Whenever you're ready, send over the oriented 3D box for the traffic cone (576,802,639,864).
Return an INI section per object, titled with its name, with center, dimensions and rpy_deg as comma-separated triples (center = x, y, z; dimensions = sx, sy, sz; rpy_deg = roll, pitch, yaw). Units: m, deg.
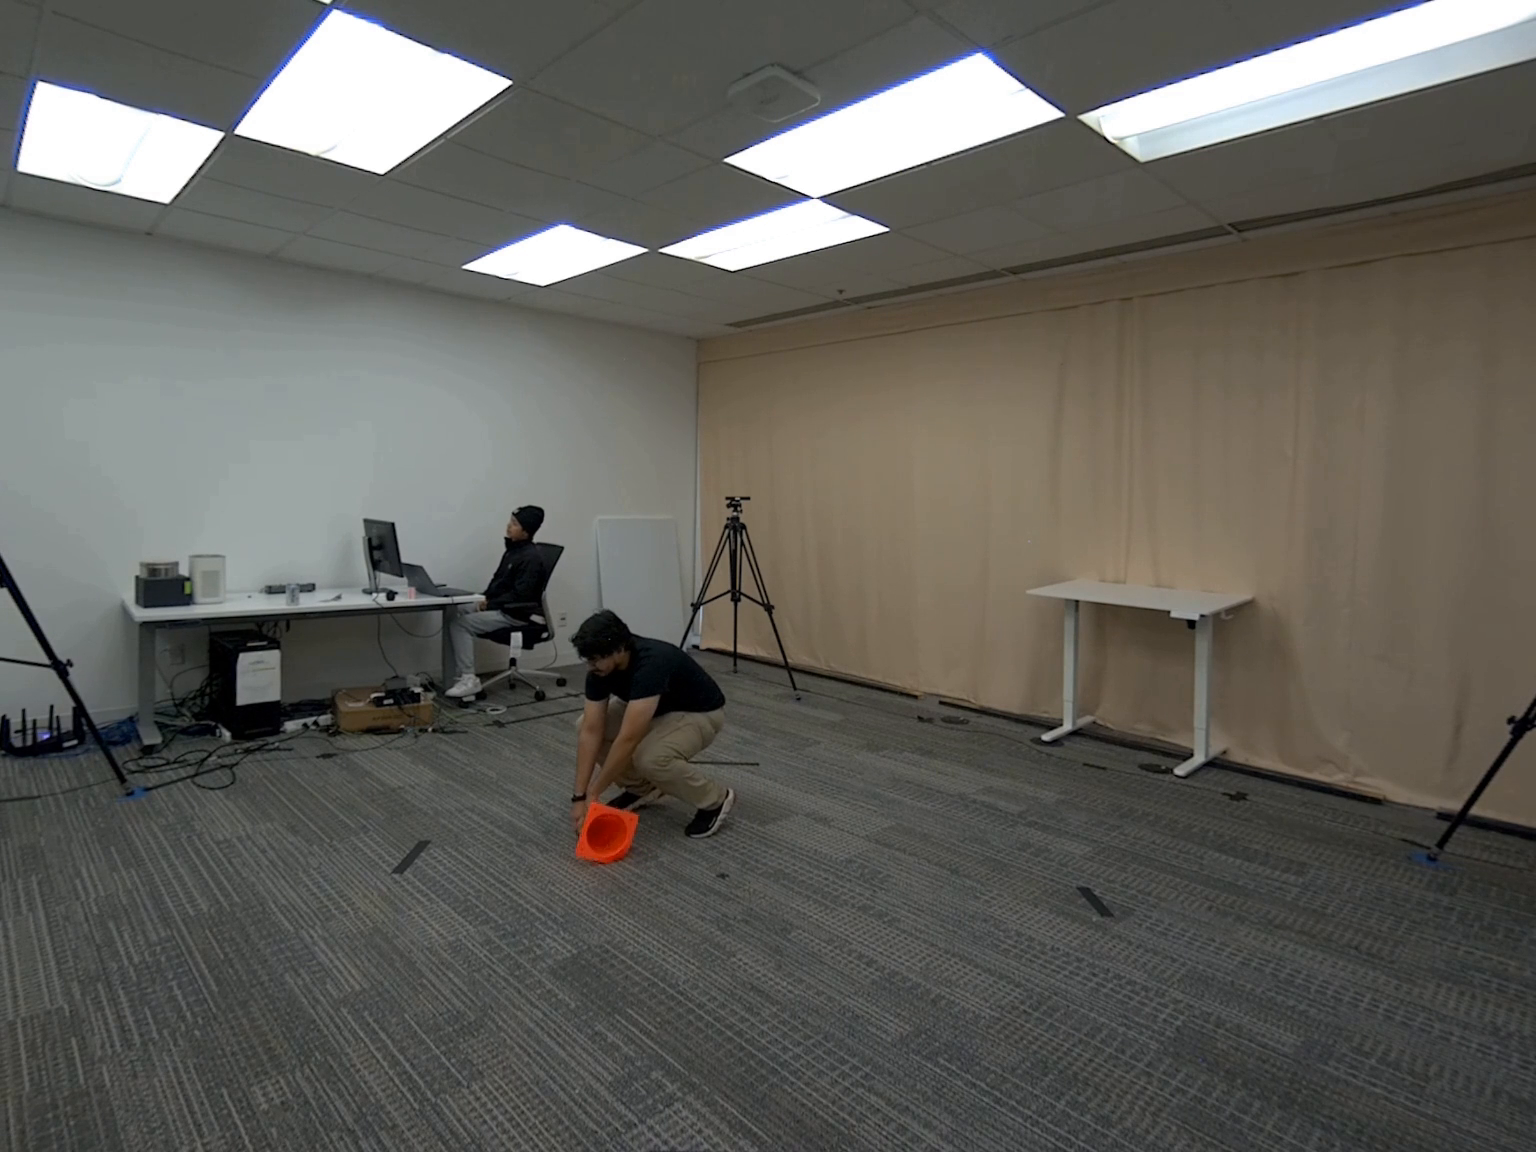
[traffic cone]
center = -0.701, 1.021, 3.368
dimensions = 0.201, 0.205, 0.387
rpy_deg = 13, -15, -21
